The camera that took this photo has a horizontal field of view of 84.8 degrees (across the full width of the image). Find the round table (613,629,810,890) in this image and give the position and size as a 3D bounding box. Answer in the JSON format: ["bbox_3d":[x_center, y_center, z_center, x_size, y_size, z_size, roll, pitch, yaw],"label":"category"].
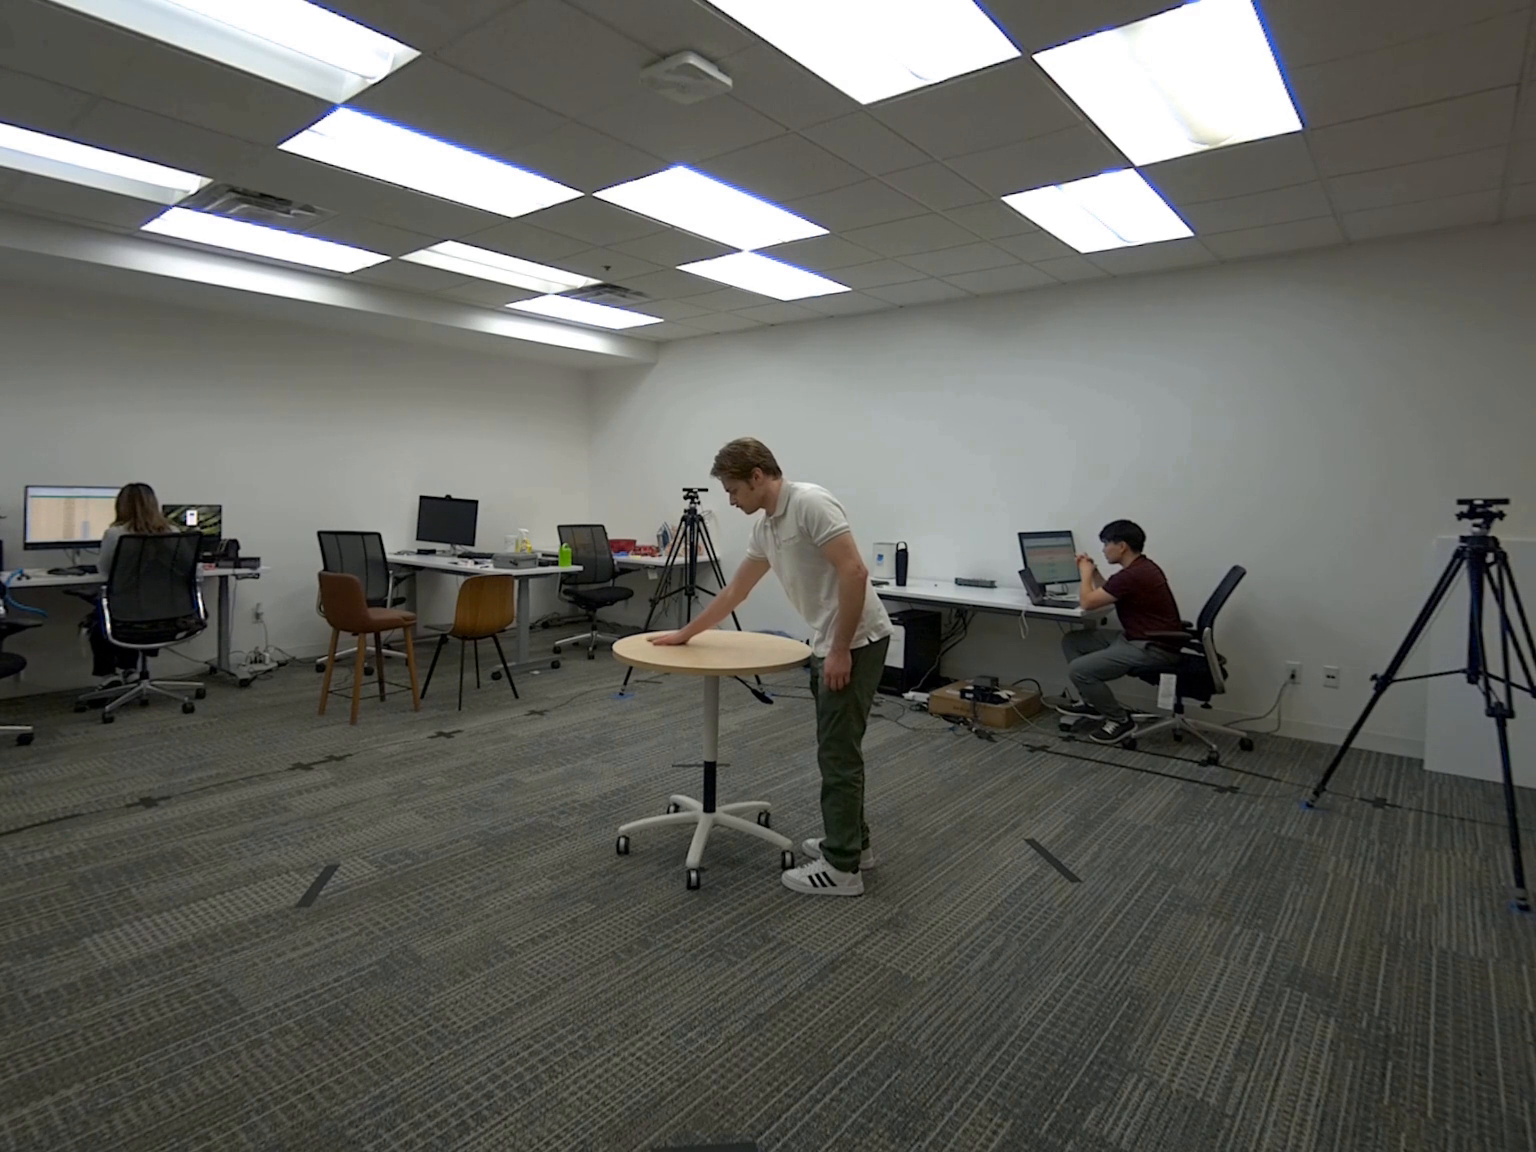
[{"bbox_3d":[-0.240,0.656,3.305,0.784,0.784,0.789,1,4,-2],"label":"round table"}]
